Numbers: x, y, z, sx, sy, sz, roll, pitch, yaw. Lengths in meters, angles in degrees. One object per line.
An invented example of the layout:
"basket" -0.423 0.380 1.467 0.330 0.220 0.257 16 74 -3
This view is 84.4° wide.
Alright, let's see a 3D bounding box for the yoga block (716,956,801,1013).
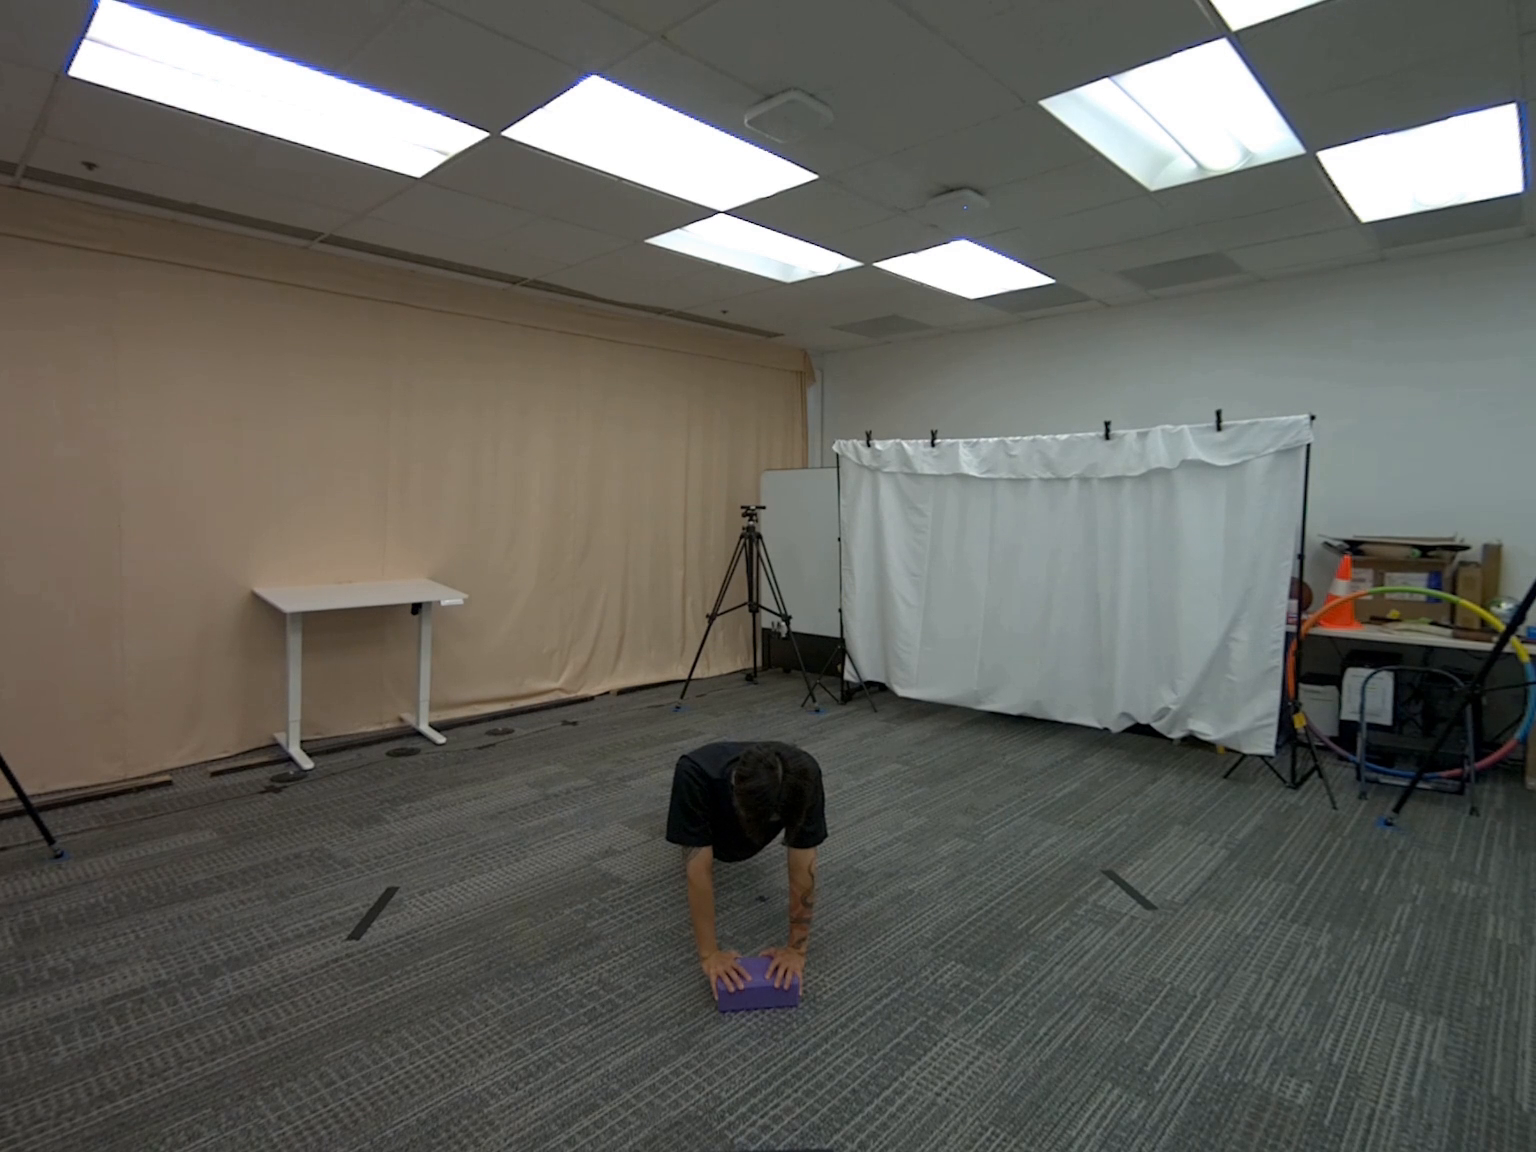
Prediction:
"yoga block" -0.038 1.151 2.394 0.227 0.076 0.150 0 4 -8
